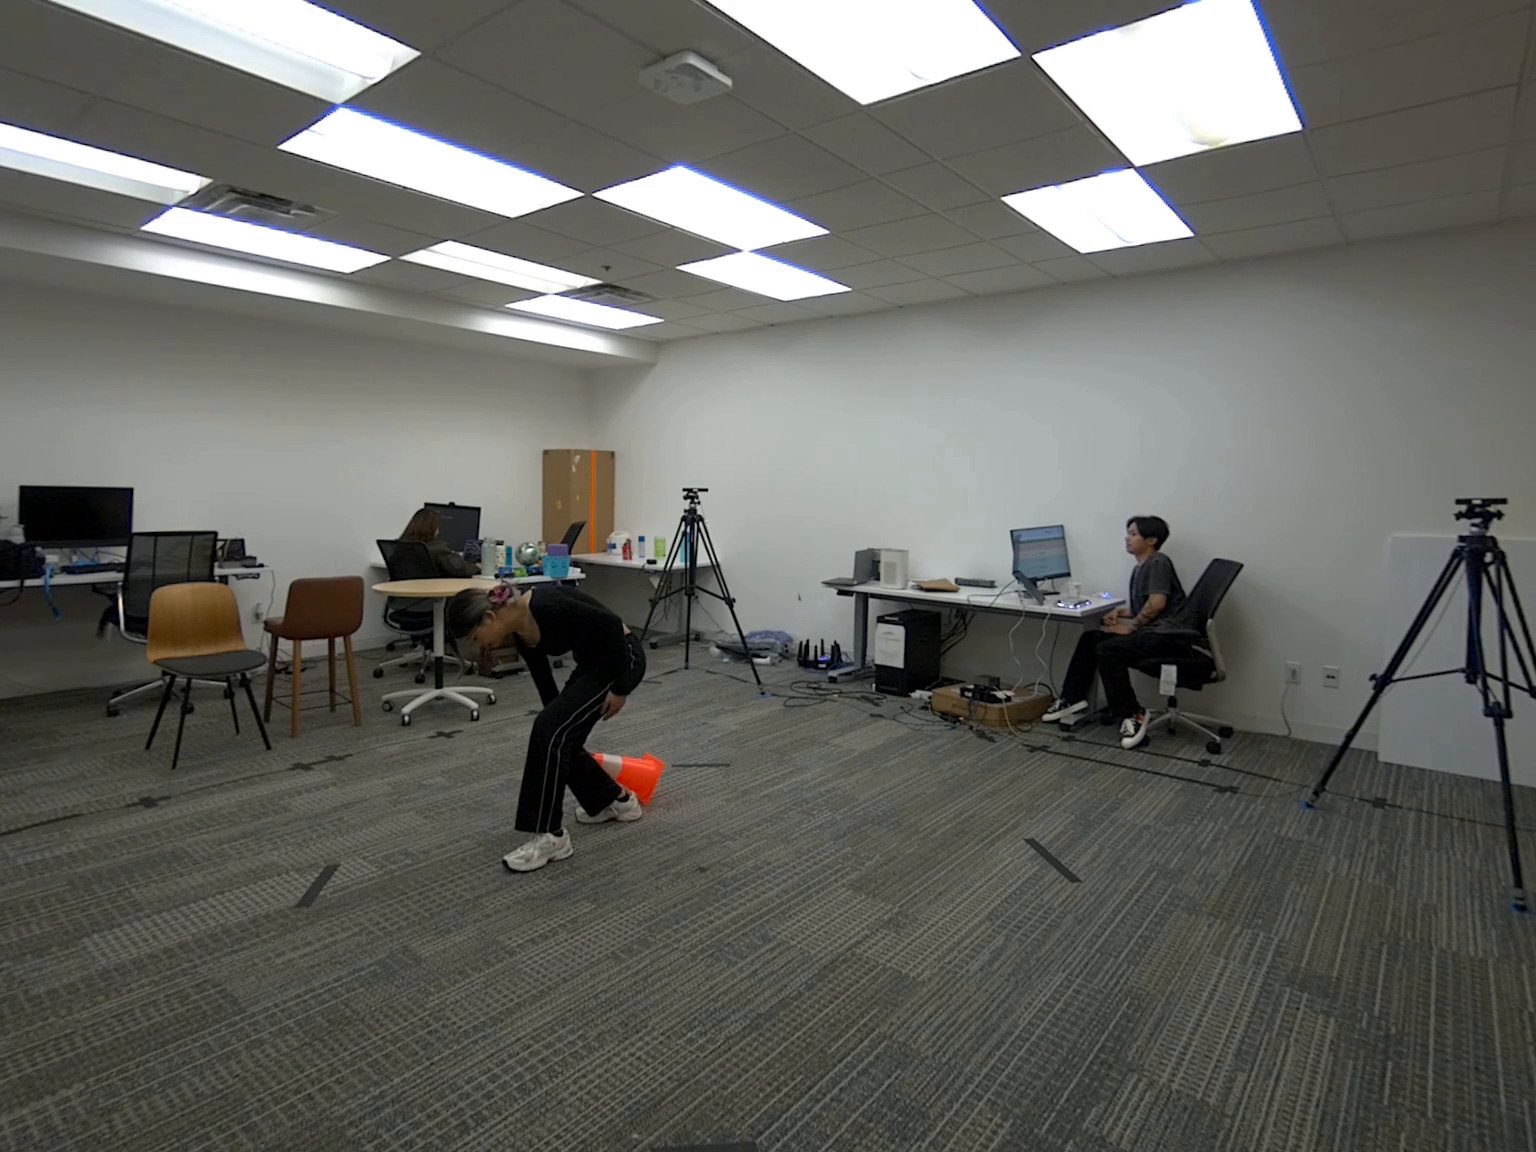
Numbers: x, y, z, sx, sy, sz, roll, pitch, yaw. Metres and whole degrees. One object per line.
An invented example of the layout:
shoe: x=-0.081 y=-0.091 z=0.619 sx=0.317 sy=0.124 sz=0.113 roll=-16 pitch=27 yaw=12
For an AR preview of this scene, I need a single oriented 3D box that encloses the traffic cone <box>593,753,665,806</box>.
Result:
traffic cone: x=-0.698 y=0.830 z=3.735 sx=0.371 sy=0.204 sz=0.211 roll=28 pitch=-6 yaw=-27
